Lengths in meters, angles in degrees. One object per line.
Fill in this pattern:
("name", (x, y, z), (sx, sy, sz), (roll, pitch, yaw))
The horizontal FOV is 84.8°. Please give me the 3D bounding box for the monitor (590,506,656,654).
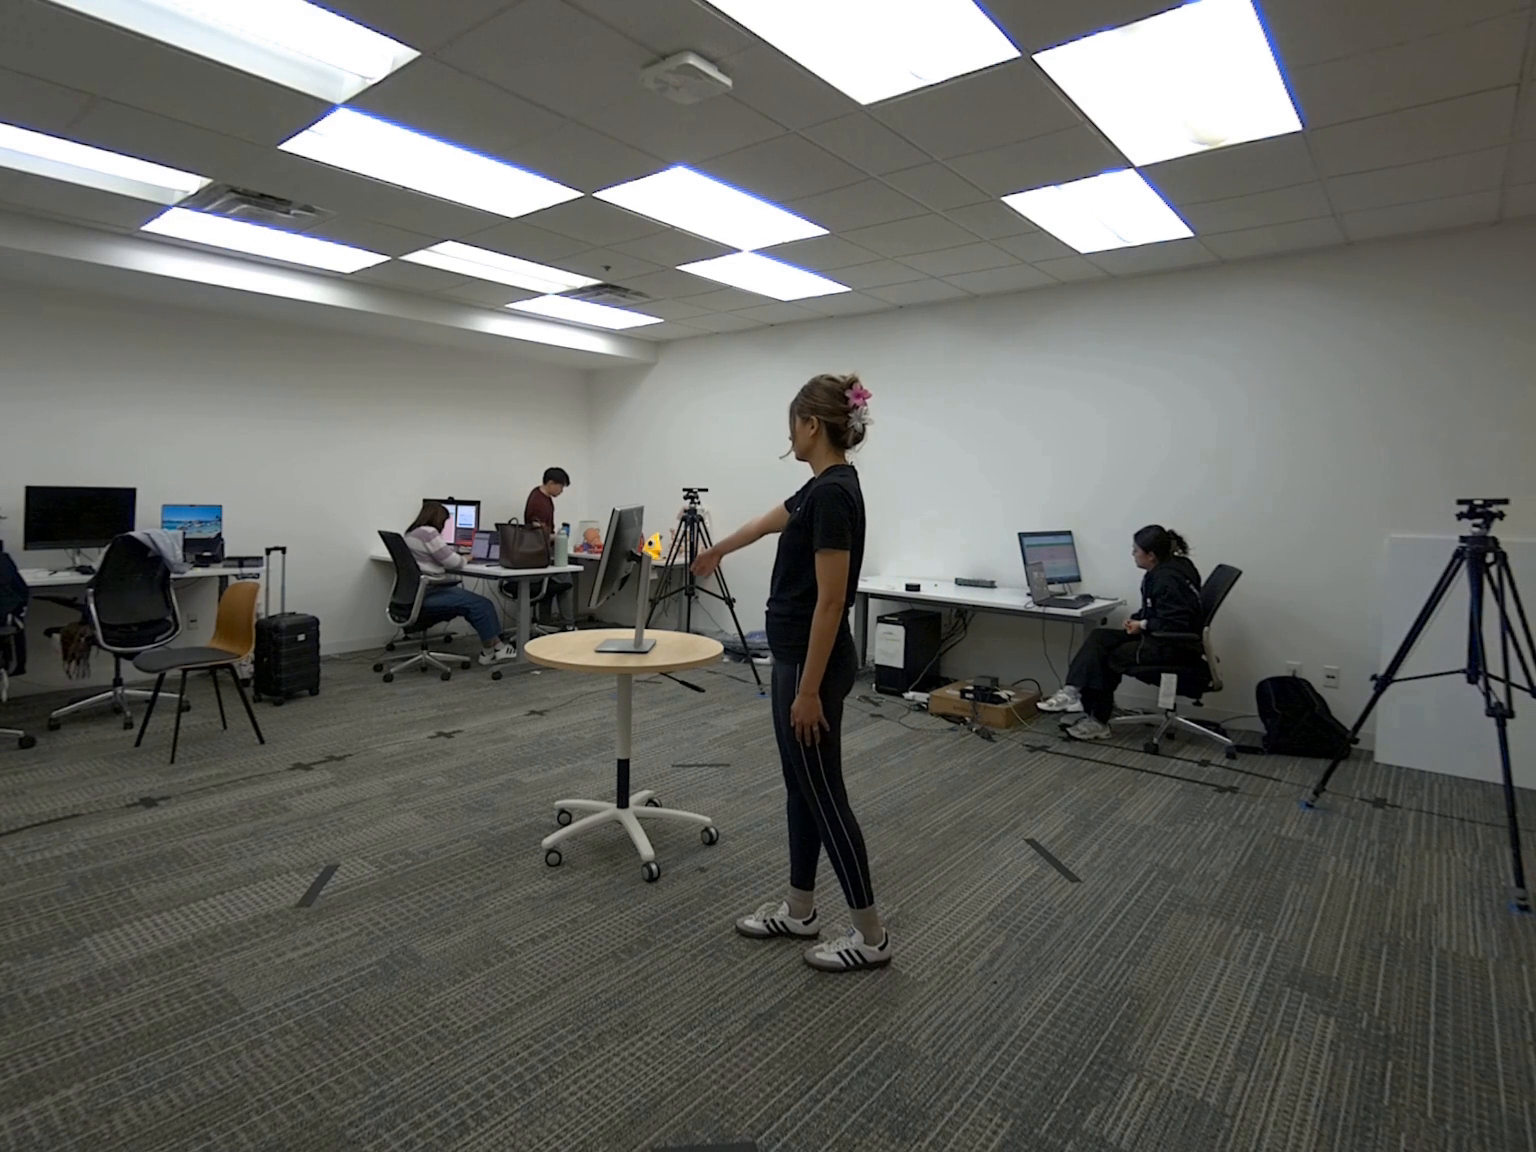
("monitor", (-0.547, 0.008, 3.245), (0.187, 0.520, 0.541), (1, 5, -2))
